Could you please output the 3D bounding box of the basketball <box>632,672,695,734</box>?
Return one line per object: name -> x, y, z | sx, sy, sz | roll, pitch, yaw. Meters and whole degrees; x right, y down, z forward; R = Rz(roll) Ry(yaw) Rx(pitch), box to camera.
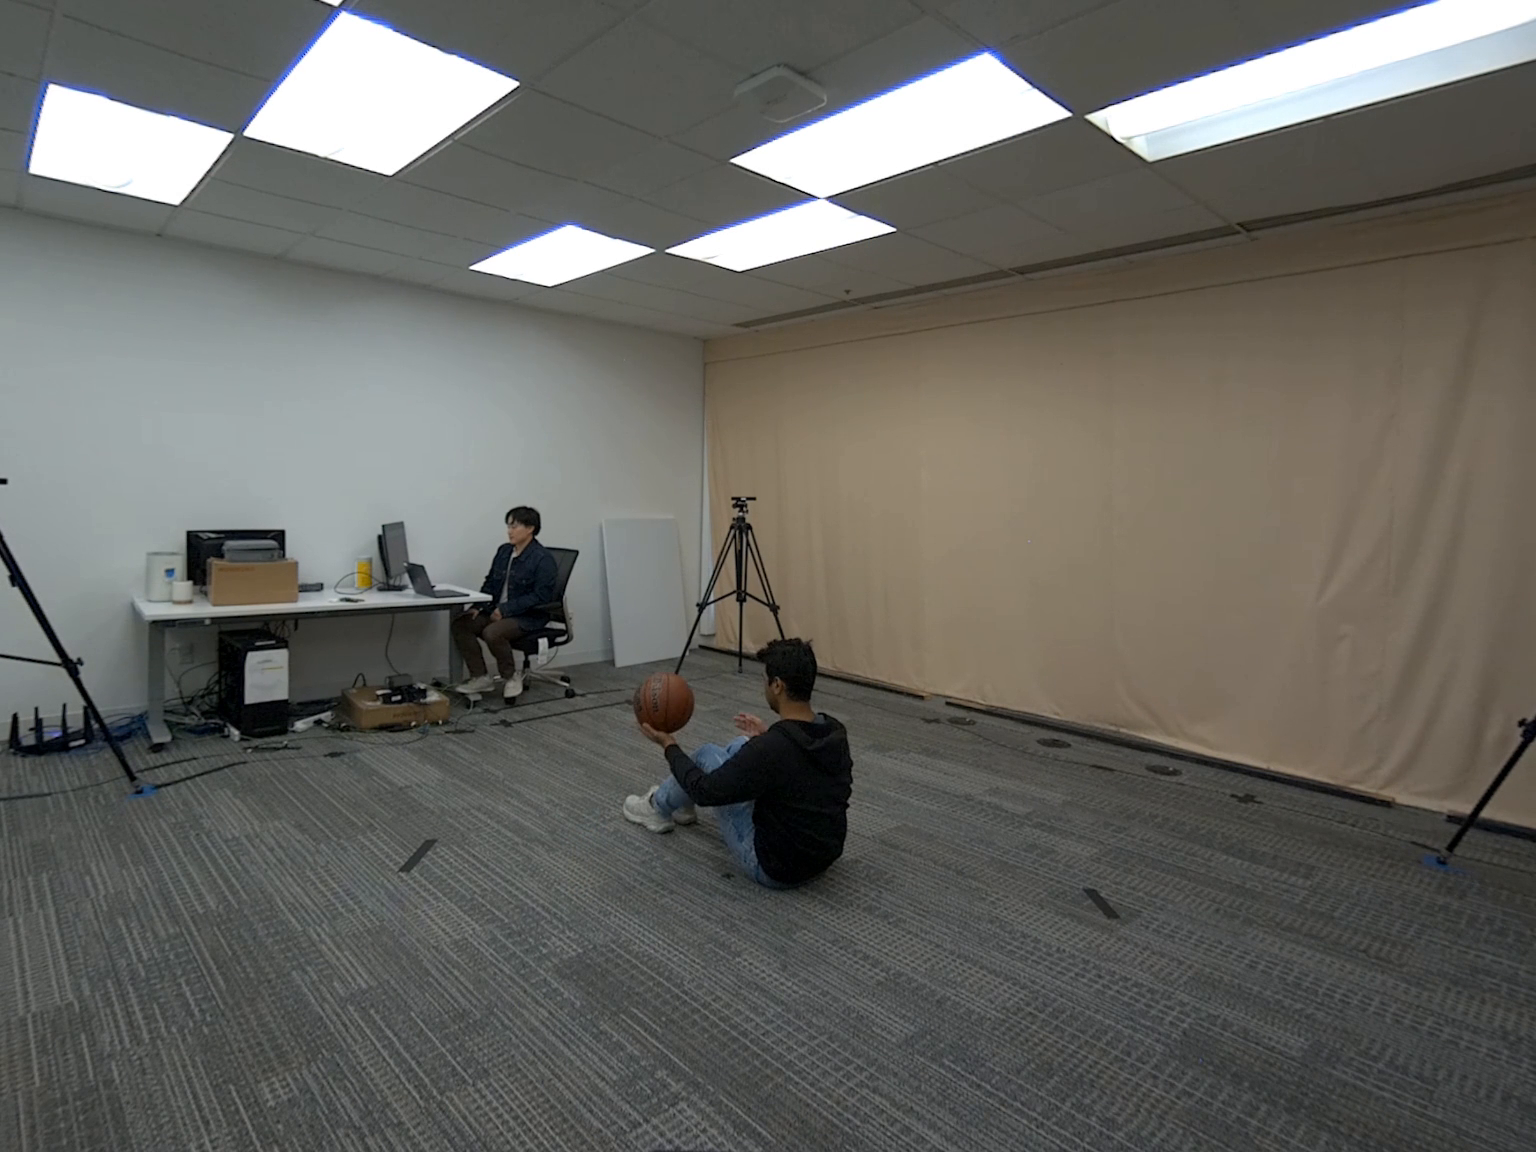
basketball -> -0.398, 0.503, 3.288 | 0.236, 0.235, 0.237 | 1, 4, -1
